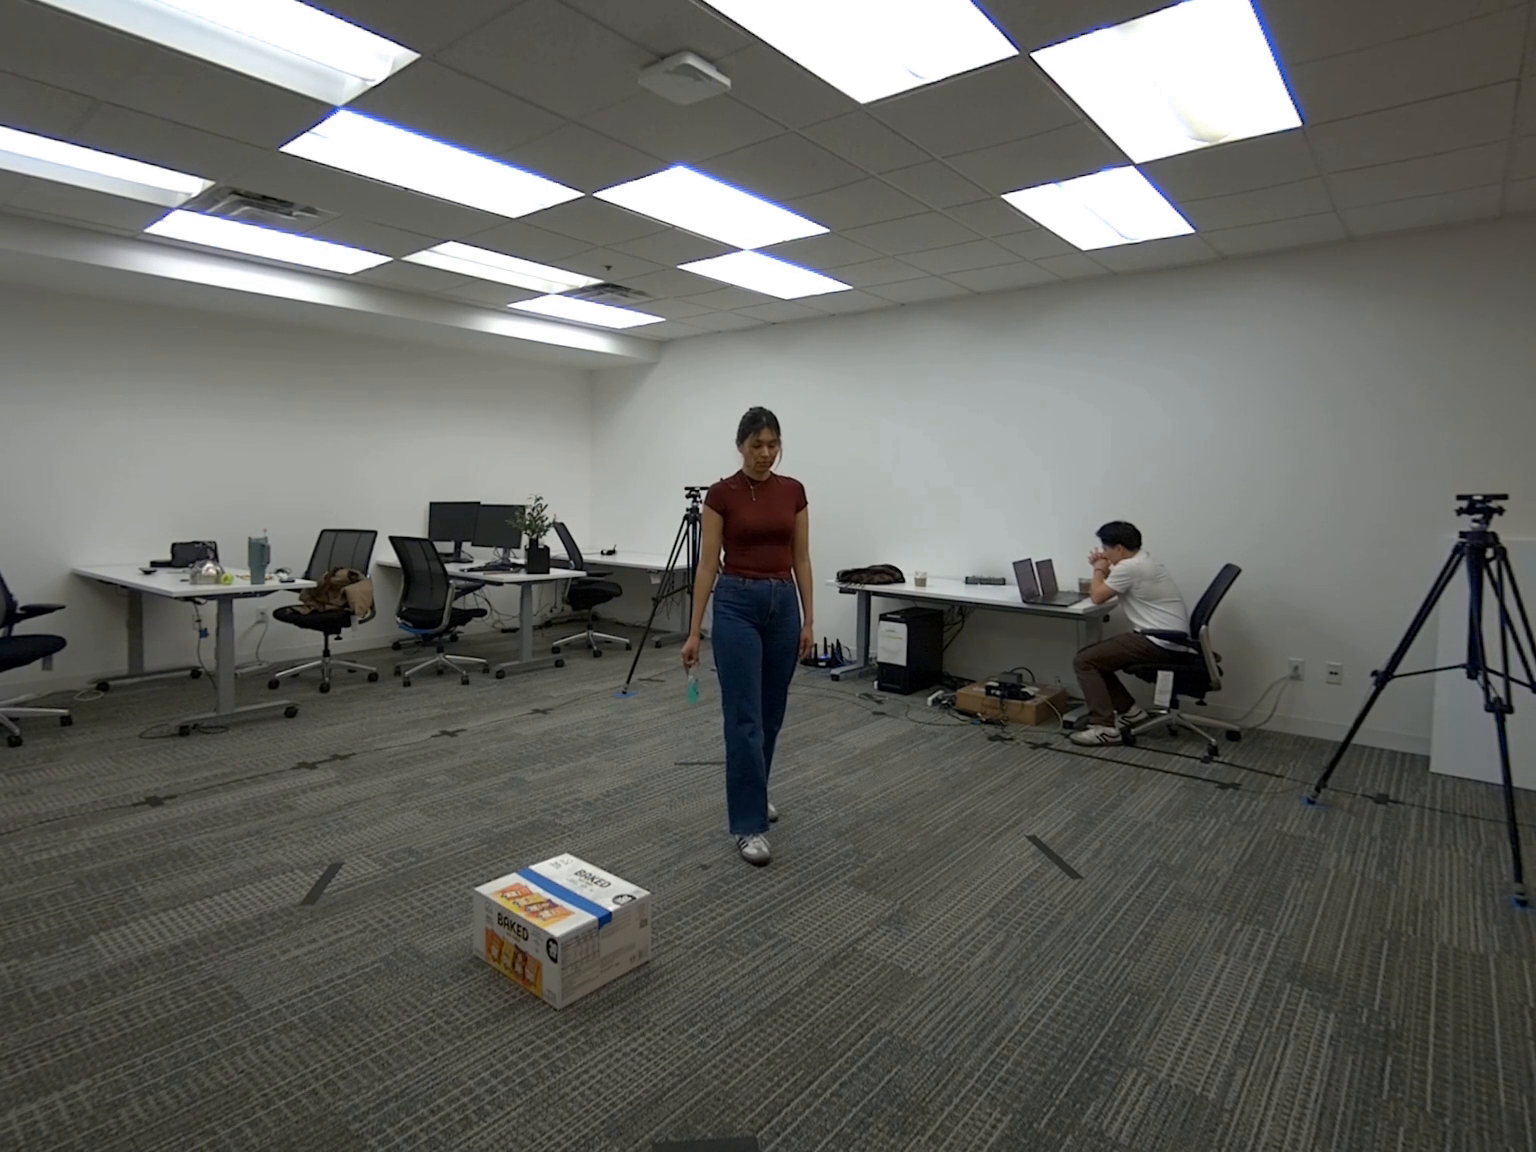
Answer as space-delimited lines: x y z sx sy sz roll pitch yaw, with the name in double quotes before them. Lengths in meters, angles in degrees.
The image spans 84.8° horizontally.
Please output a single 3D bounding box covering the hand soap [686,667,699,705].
"hand soap" -0.305 0.396 3.313 0.044 0.168 0.084 -5 2 5
